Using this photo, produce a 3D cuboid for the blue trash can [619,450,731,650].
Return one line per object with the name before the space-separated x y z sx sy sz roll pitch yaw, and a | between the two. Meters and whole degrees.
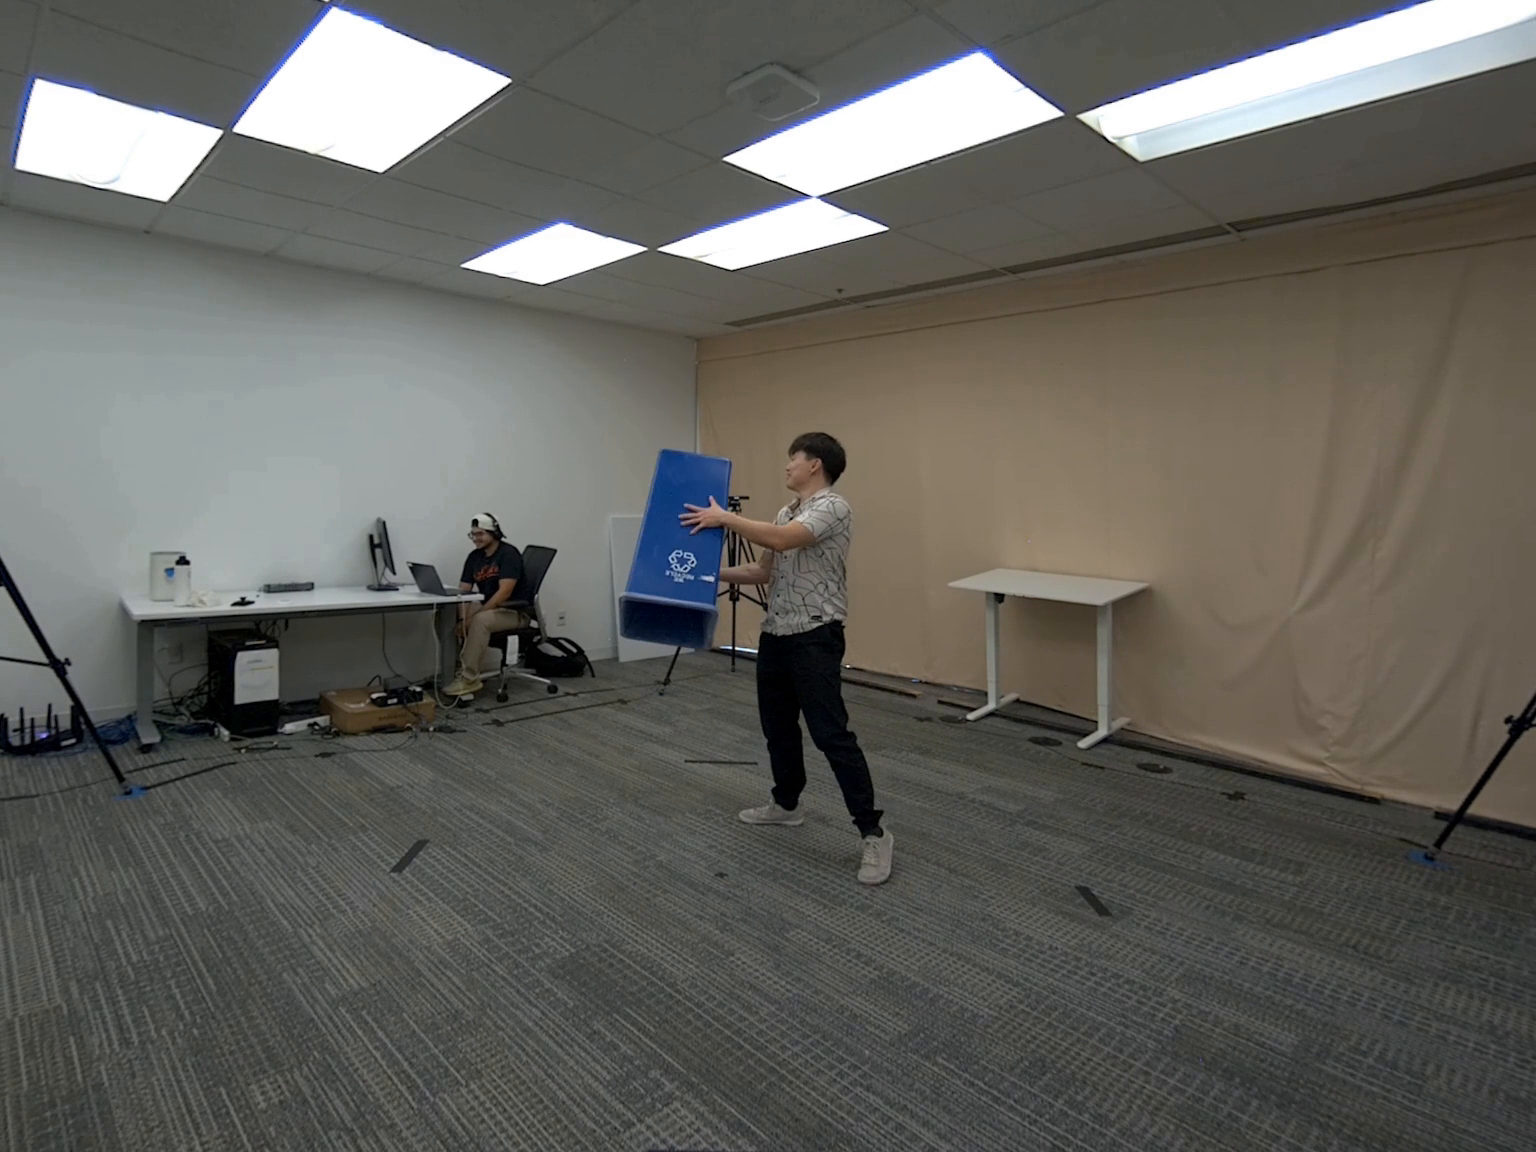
blue trash can | -0.352 -0.124 3.368 0.378 0.725 0.368 9 -30 -1
